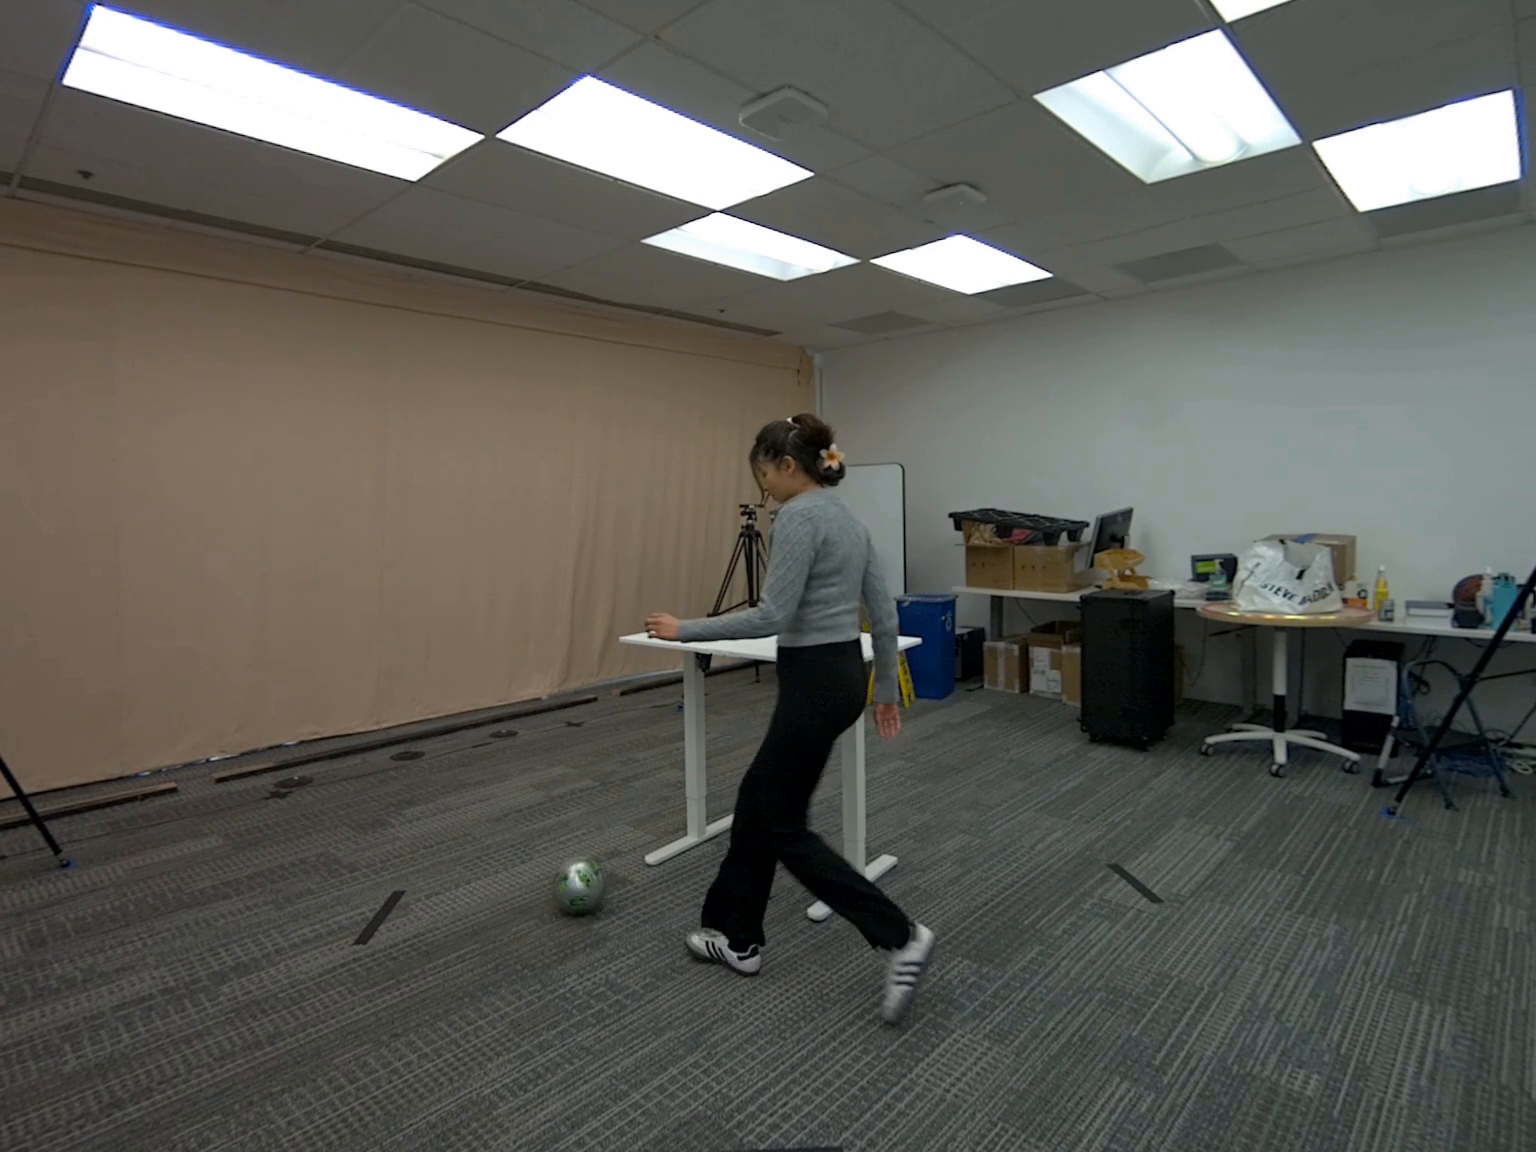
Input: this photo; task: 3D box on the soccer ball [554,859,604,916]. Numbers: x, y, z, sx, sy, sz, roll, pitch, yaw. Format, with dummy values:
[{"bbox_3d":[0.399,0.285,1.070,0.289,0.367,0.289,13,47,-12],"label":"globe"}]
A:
[{"bbox_3d":[-0.648,1.062,2.910,0.187,0.187,0.188,-1,4,-2],"label":"soccer ball"}]
